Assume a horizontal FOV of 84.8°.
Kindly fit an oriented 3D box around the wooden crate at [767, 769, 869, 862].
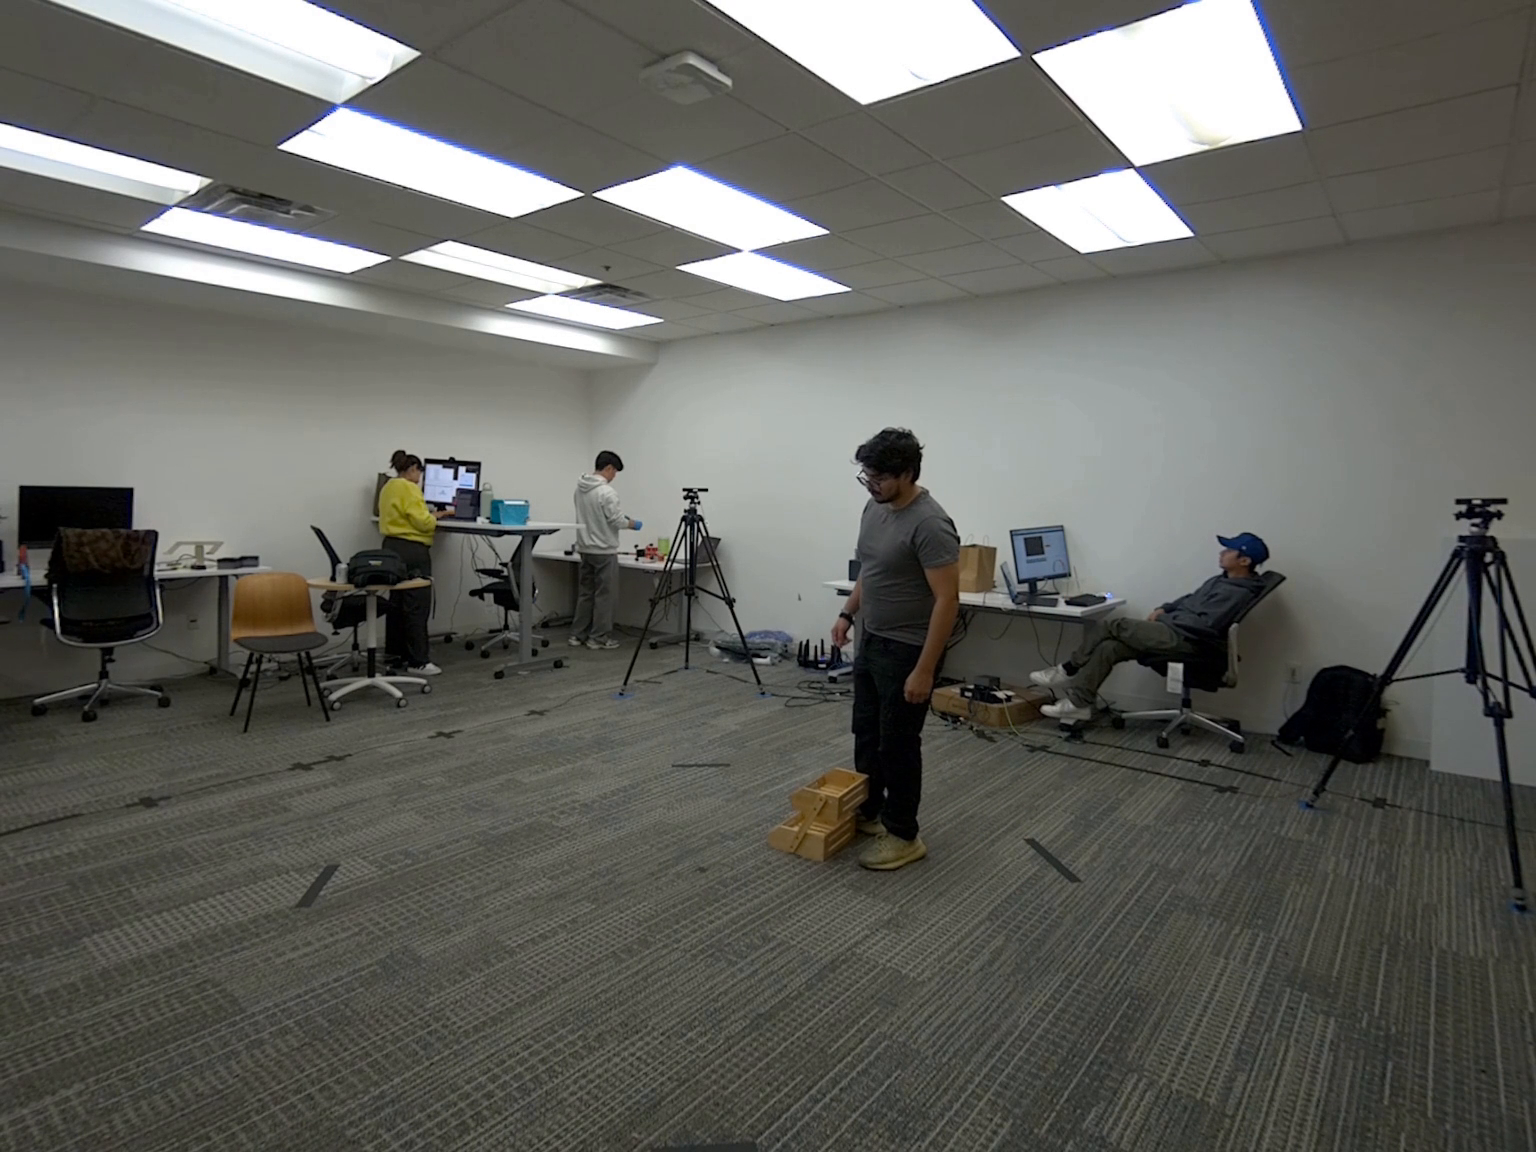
[{"bbox_3d":[0.186,0.921,3.374,0.311,0.272,0.316,5,5,30],"label":"wooden crate"}]
